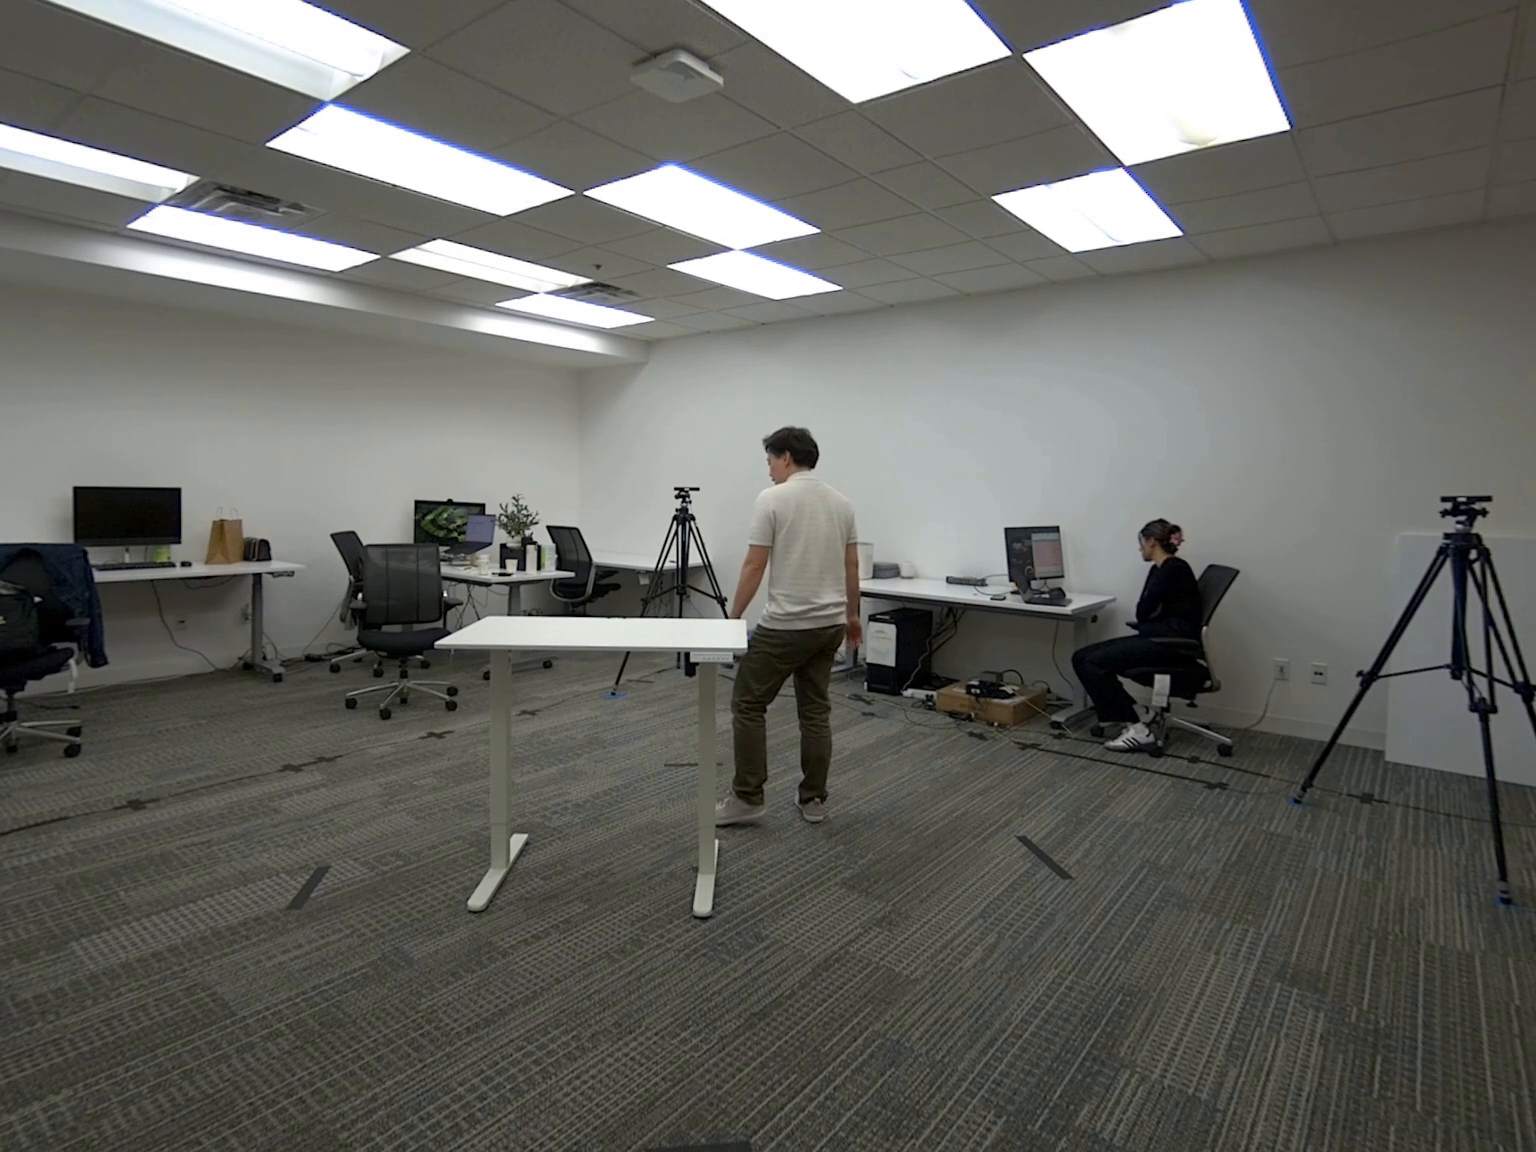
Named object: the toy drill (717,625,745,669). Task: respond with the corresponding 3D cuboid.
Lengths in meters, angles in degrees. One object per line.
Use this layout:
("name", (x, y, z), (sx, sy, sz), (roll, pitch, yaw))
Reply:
("toy drill", (-0.164, 0.302, 3.621), (0.060, 0.146, 0.173), (8, 4, -14))
